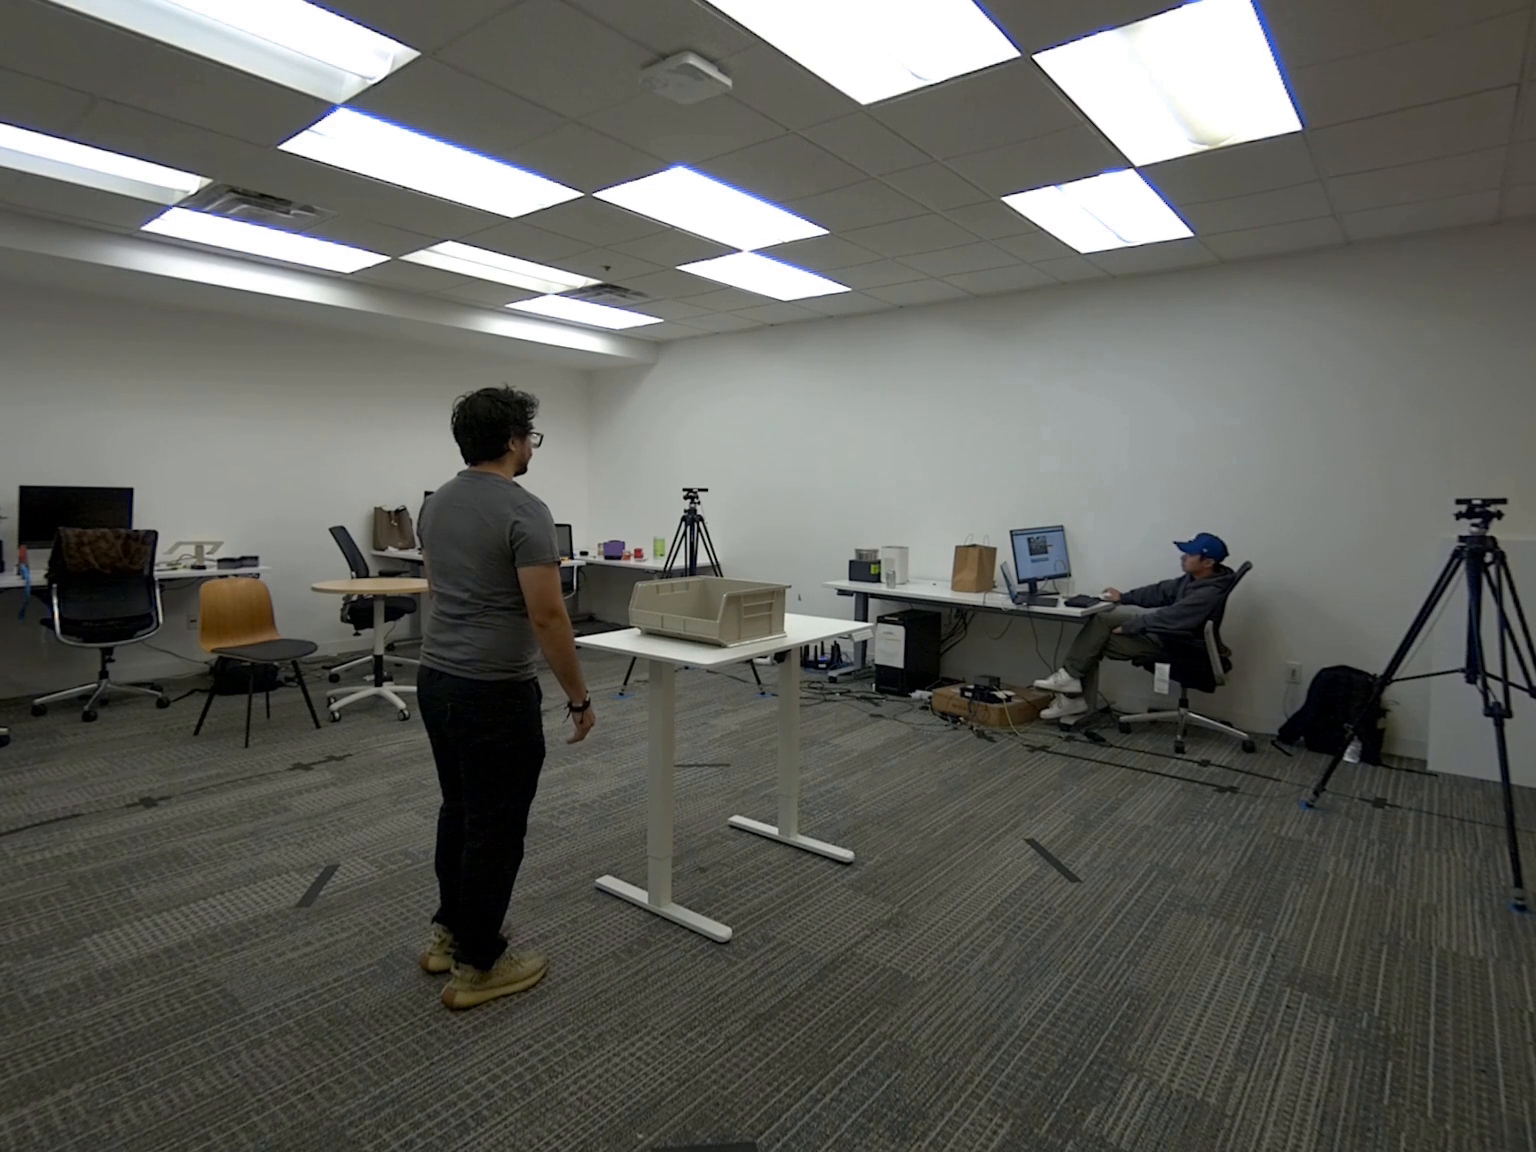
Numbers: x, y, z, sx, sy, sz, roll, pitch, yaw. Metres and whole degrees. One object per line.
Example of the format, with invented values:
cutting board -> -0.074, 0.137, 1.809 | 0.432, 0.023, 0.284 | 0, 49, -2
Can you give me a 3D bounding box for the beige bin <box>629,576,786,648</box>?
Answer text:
beige bin -> -0.209, 0.119, 2.930 | 0.436, 0.188, 0.366 | 4, 5, 39
